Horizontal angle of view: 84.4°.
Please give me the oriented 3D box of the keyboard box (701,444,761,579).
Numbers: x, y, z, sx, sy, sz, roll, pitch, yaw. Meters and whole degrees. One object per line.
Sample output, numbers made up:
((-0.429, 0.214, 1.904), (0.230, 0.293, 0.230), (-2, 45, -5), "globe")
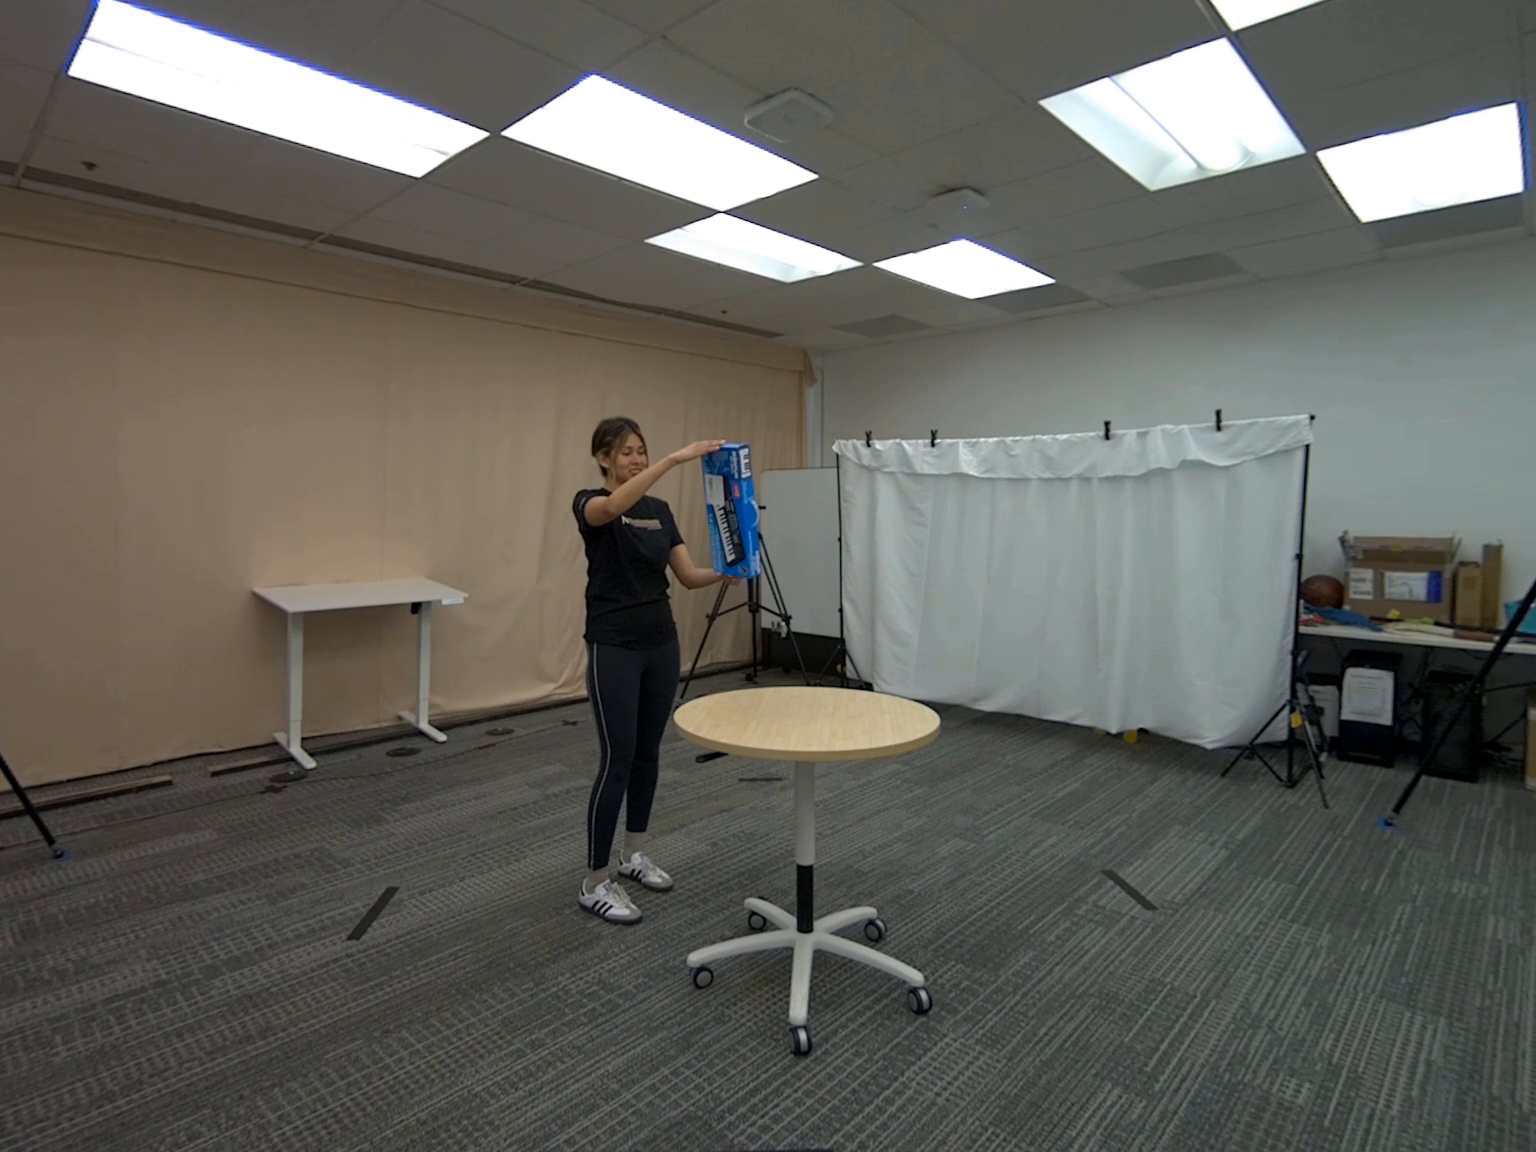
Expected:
((-0.123, -0.216, 2.785), (0.182, 0.432, 0.058), (8, 20, 41), "keyboard box")
